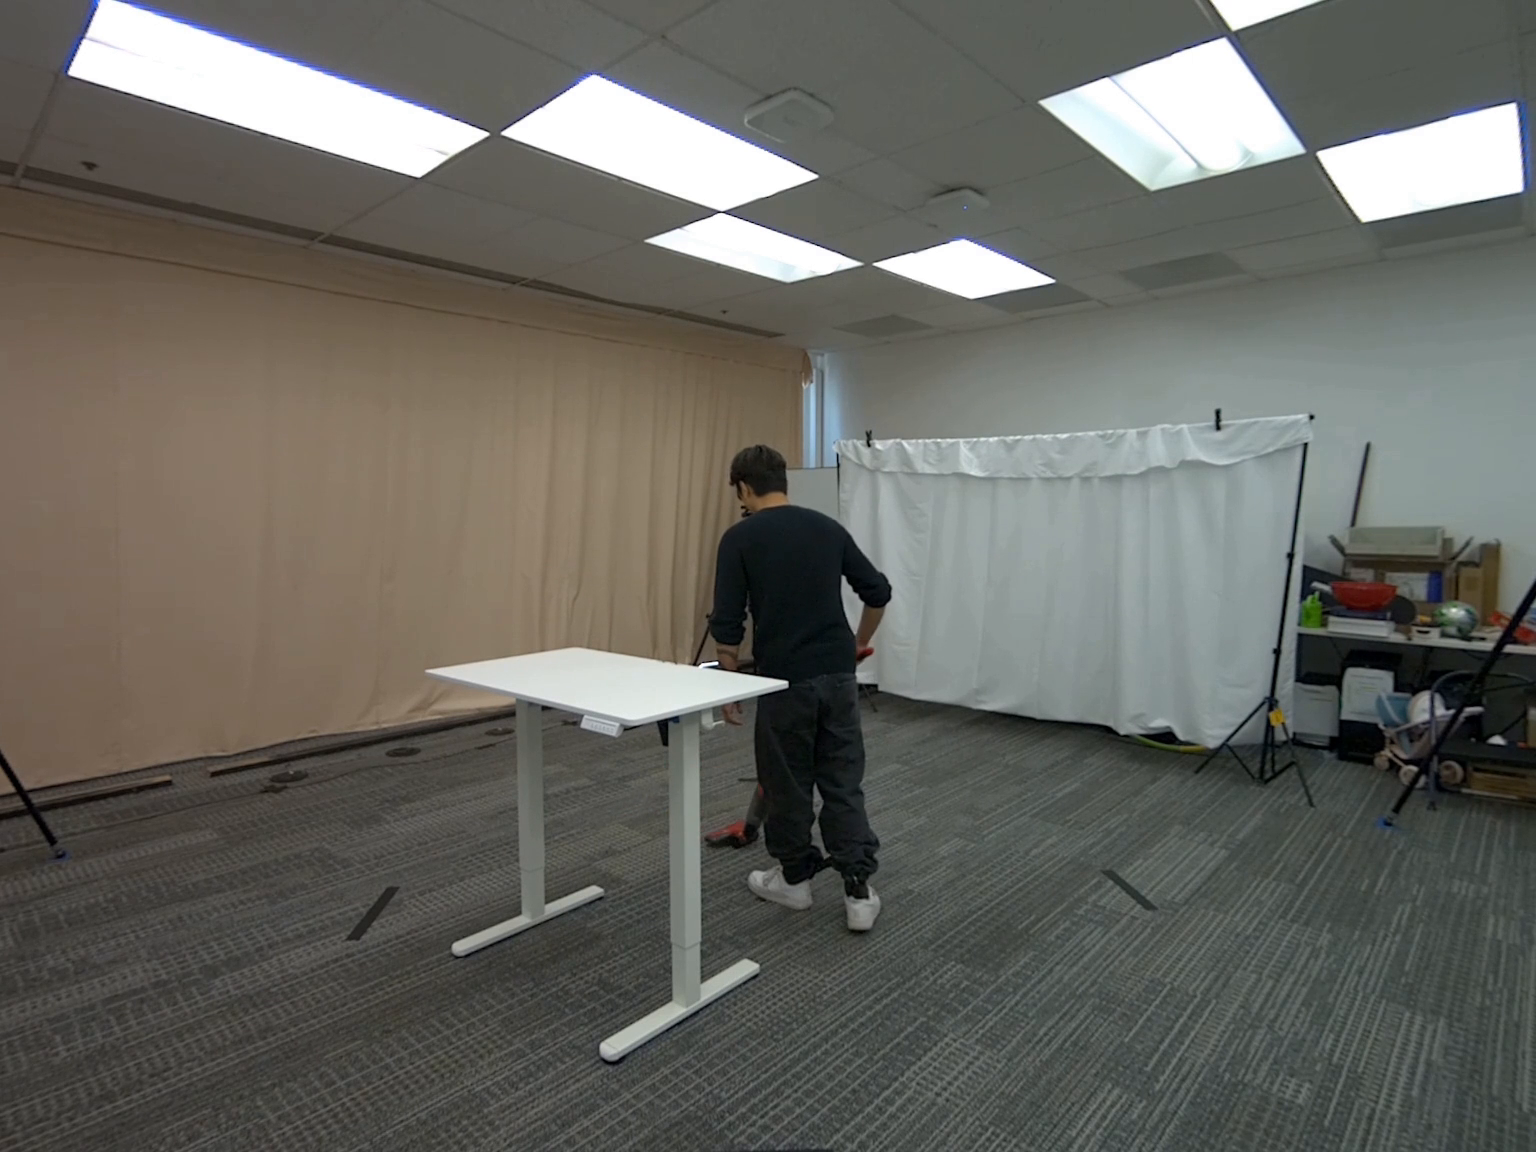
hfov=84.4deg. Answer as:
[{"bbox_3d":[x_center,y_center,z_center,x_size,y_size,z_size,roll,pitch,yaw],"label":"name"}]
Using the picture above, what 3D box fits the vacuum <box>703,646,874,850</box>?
[{"bbox_3d":[0.110,0.679,3.300,0.148,1.050,0.245,44,25,27],"label":"vacuum"}]
